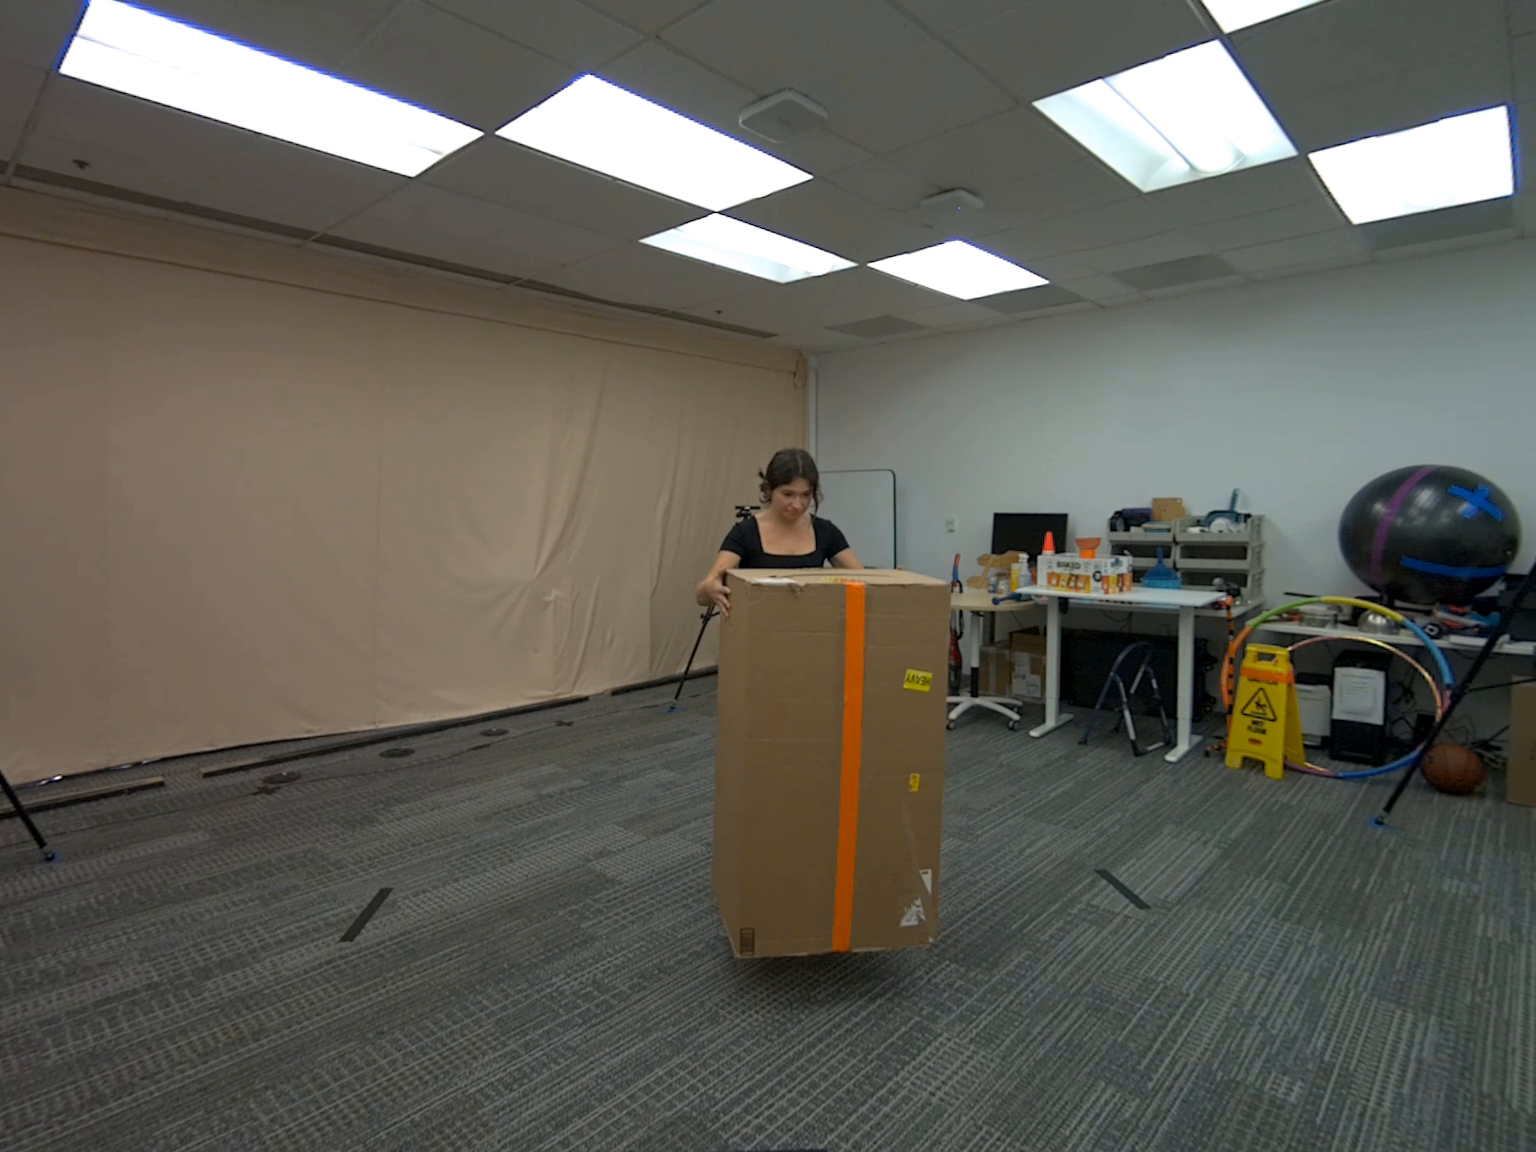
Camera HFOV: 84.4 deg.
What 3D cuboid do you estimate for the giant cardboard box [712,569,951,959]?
[{"bbox_3d":[0.167,0.516,2.485,0.571,1.024,0.432,1,3,-12],"label":"giant cardboard box"}]
